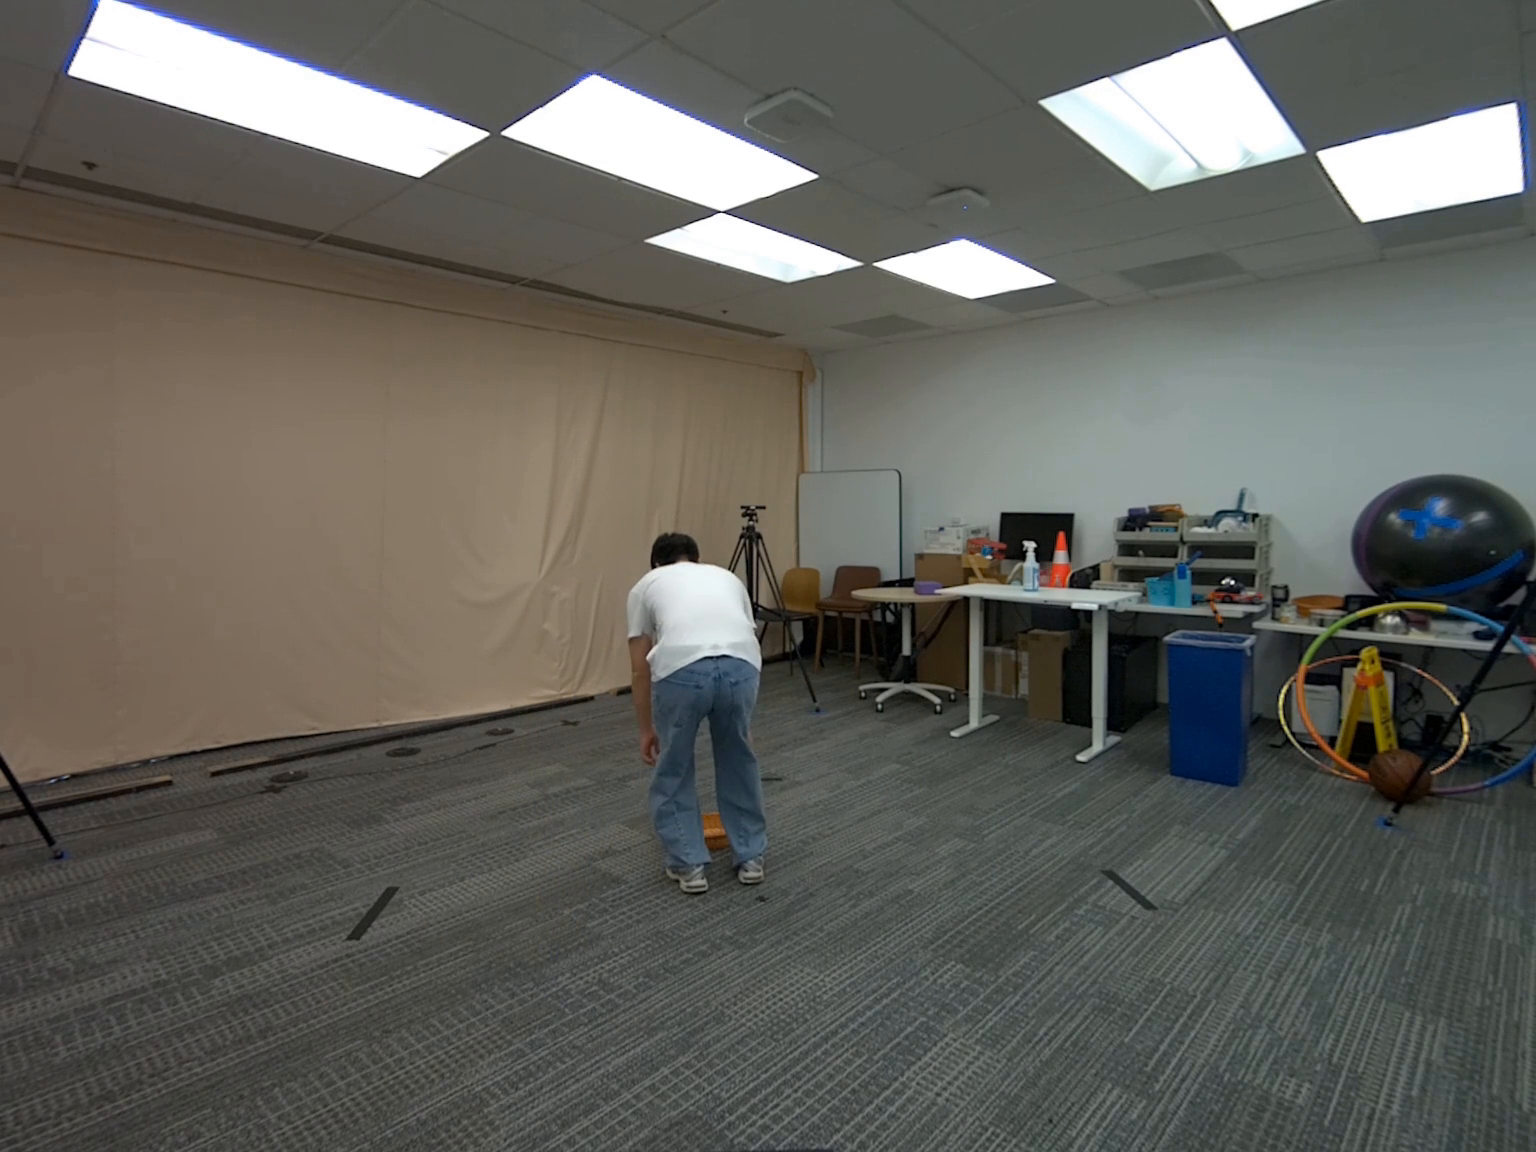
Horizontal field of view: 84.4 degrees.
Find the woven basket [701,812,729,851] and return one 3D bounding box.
[{"bbox_3d":[-0.257,1.062,3.502,0.345,0.073,0.257,-2,5,-16],"label":"woven basket"}]
